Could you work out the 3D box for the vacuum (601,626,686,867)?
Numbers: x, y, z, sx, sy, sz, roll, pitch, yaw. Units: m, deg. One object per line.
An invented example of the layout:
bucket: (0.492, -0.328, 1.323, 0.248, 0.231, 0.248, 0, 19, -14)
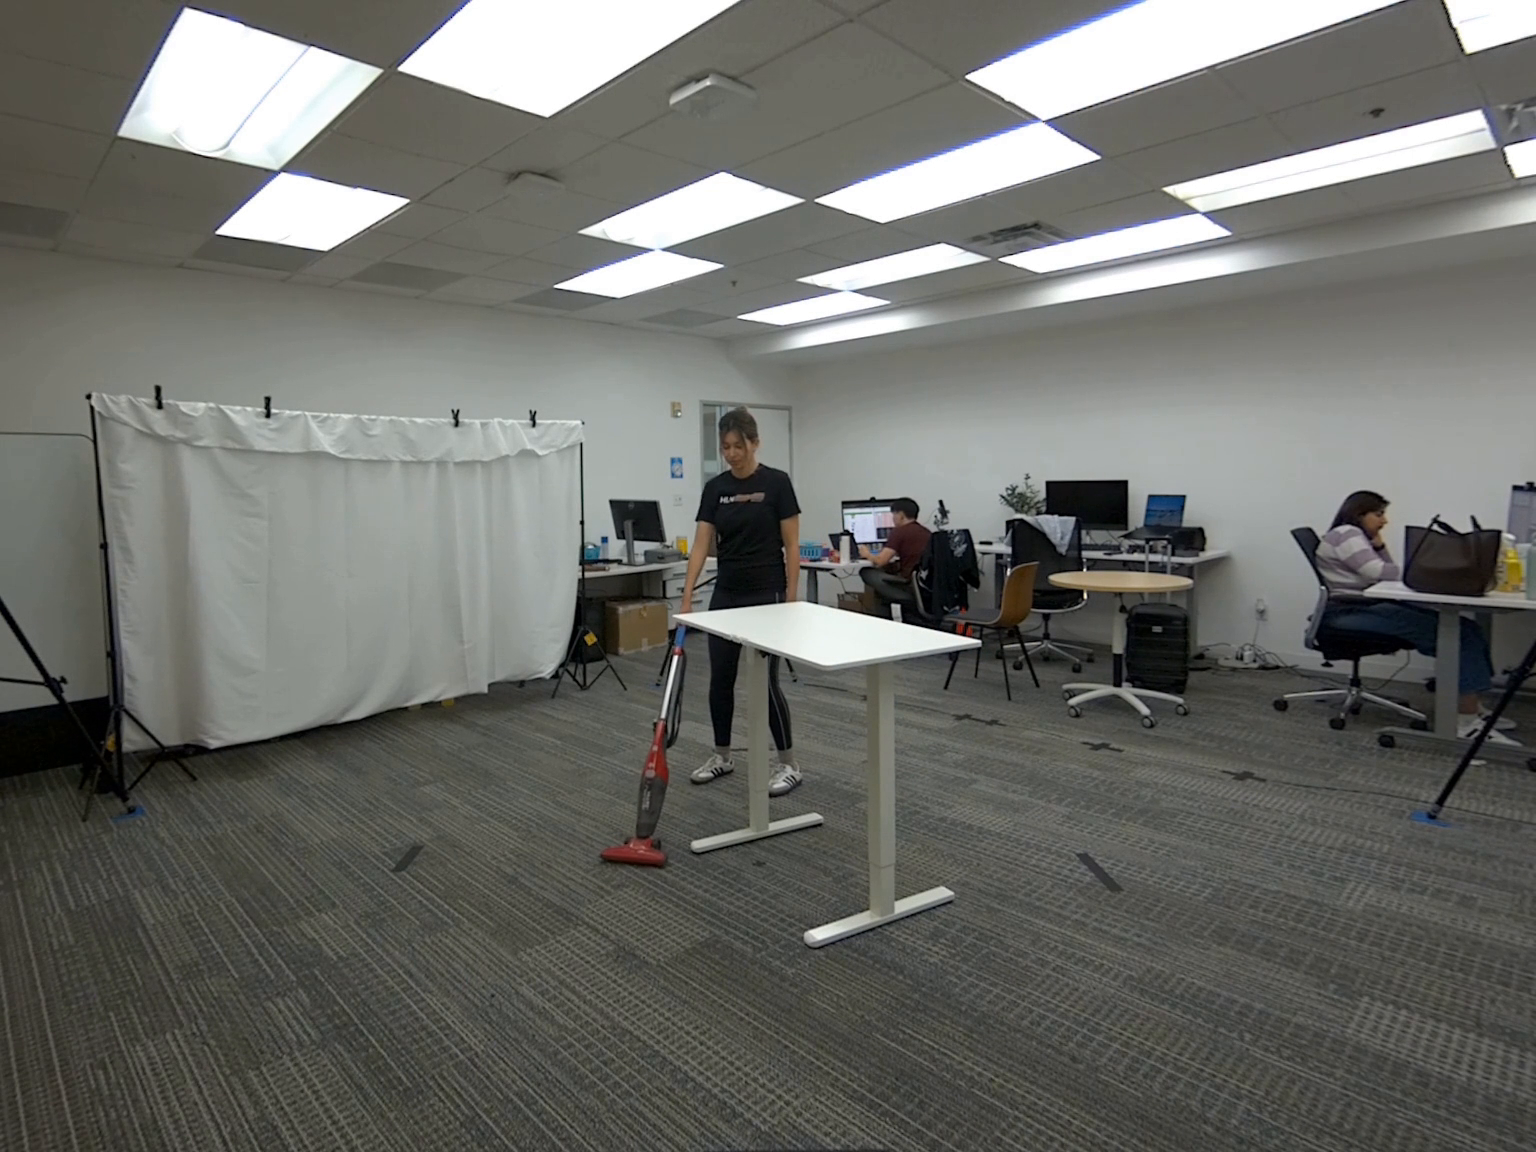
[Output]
vacuum: (-0.420, 0.610, 3.486, 0.256, 1.072, 0.139, -4, -38, 16)
